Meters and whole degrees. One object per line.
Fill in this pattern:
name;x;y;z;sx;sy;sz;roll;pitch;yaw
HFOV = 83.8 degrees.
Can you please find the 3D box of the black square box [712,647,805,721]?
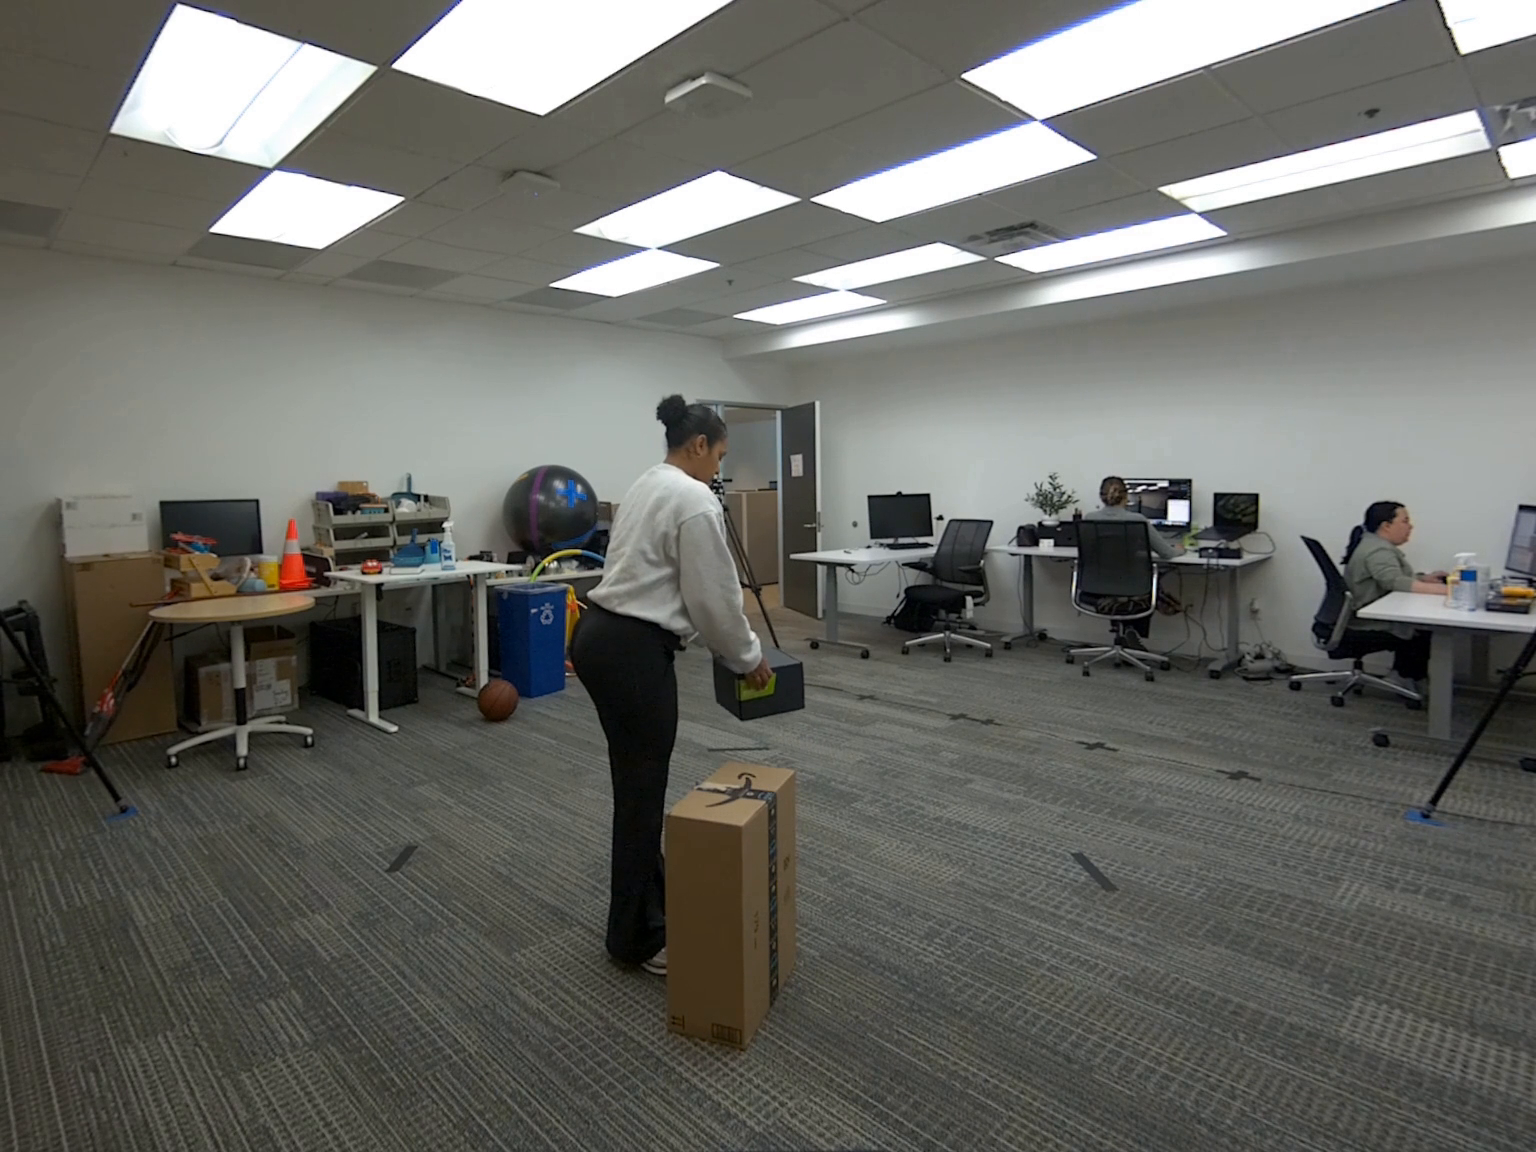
black square box;-0.026;0.348;2.777;0.224;0.154;0.223;-8;11;-23
